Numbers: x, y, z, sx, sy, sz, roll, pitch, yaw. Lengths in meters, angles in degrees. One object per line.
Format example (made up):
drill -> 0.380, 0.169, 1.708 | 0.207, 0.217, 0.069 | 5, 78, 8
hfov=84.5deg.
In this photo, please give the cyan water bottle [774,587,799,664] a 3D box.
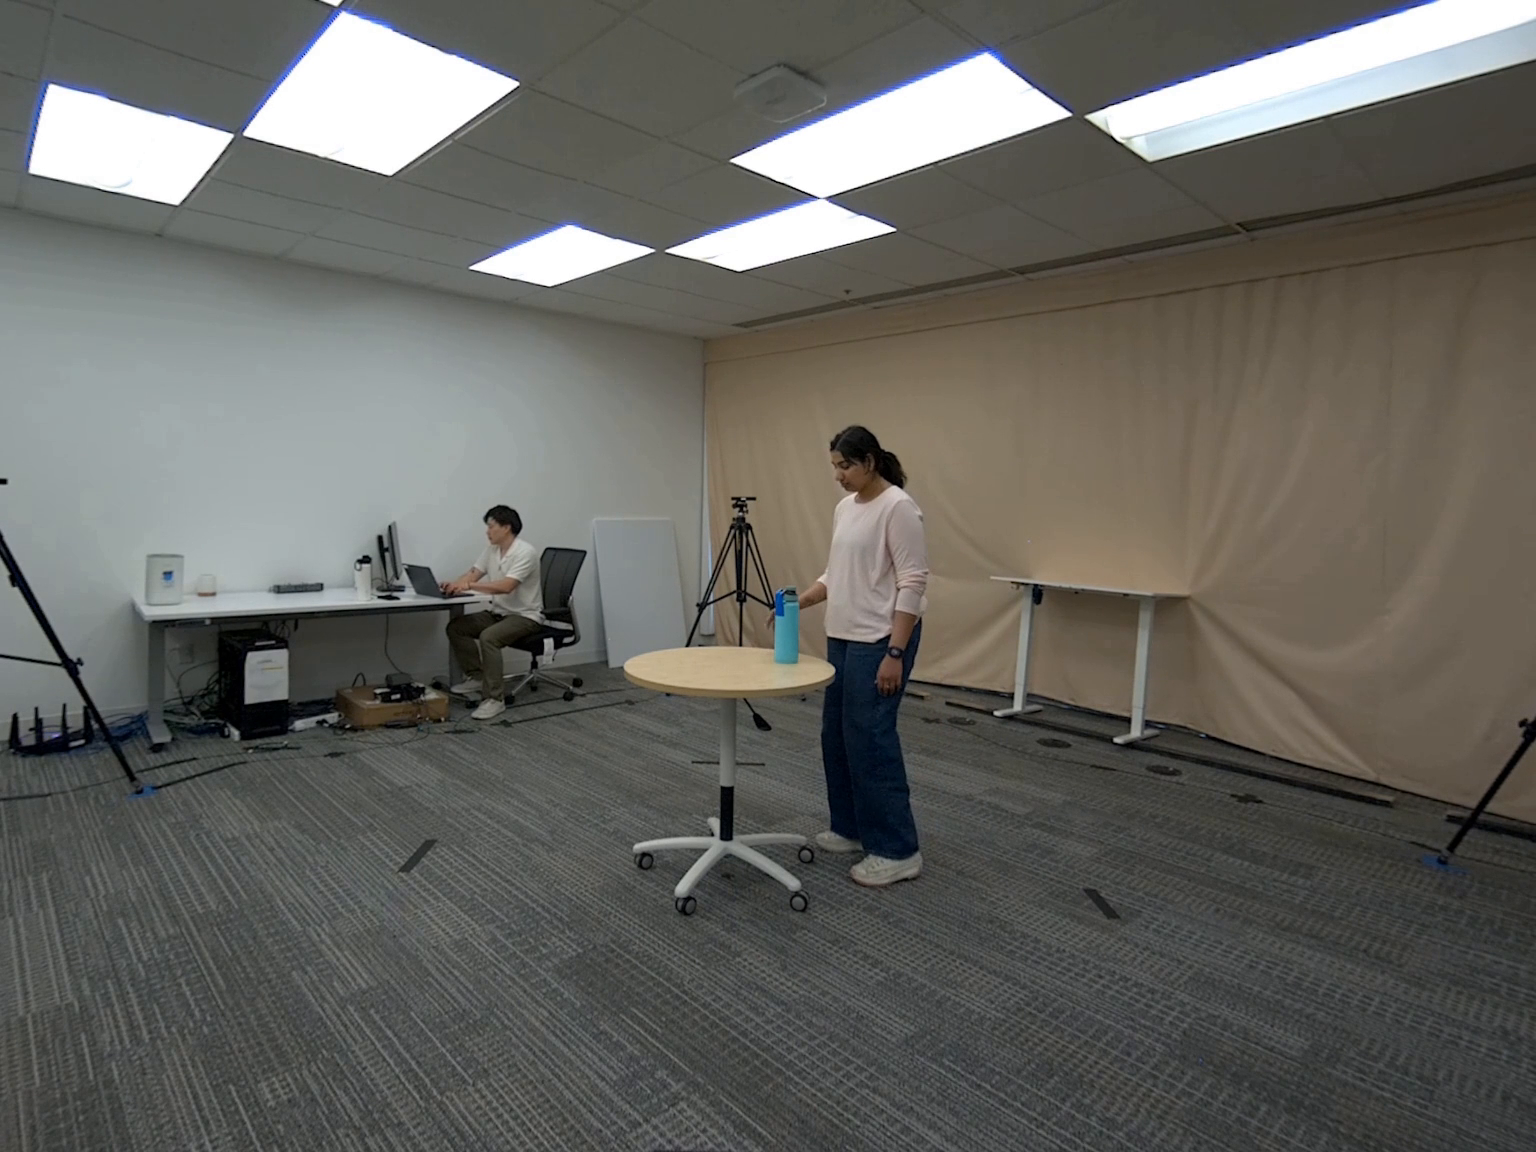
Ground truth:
cyan water bottle -> 0.067, 0.181, 3.157 | 0.092, 0.282, 0.092 | 1, 4, -1
